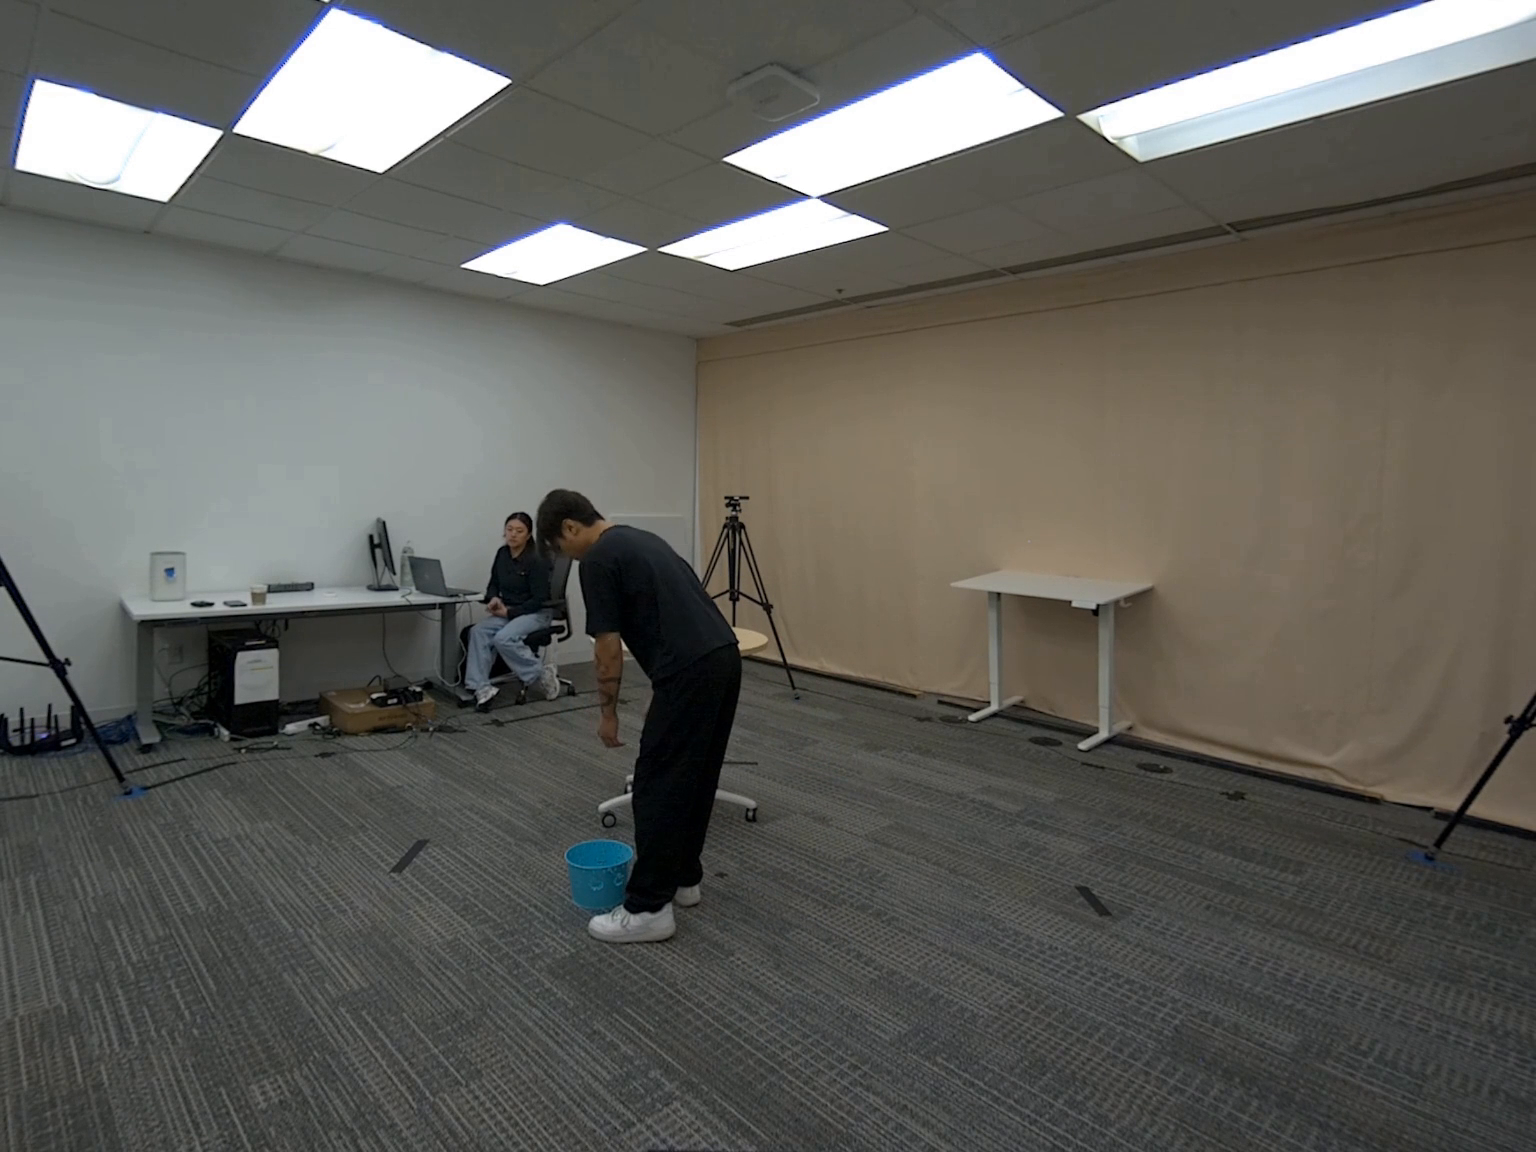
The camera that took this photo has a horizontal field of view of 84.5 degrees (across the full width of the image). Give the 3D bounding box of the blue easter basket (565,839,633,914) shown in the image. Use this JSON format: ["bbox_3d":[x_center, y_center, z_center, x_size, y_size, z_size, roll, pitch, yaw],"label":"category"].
[{"bbox_3d":[-0.581,1.029,2.910,0.243,0.155,0.244,1,5,-1],"label":"blue easter basket"}]
